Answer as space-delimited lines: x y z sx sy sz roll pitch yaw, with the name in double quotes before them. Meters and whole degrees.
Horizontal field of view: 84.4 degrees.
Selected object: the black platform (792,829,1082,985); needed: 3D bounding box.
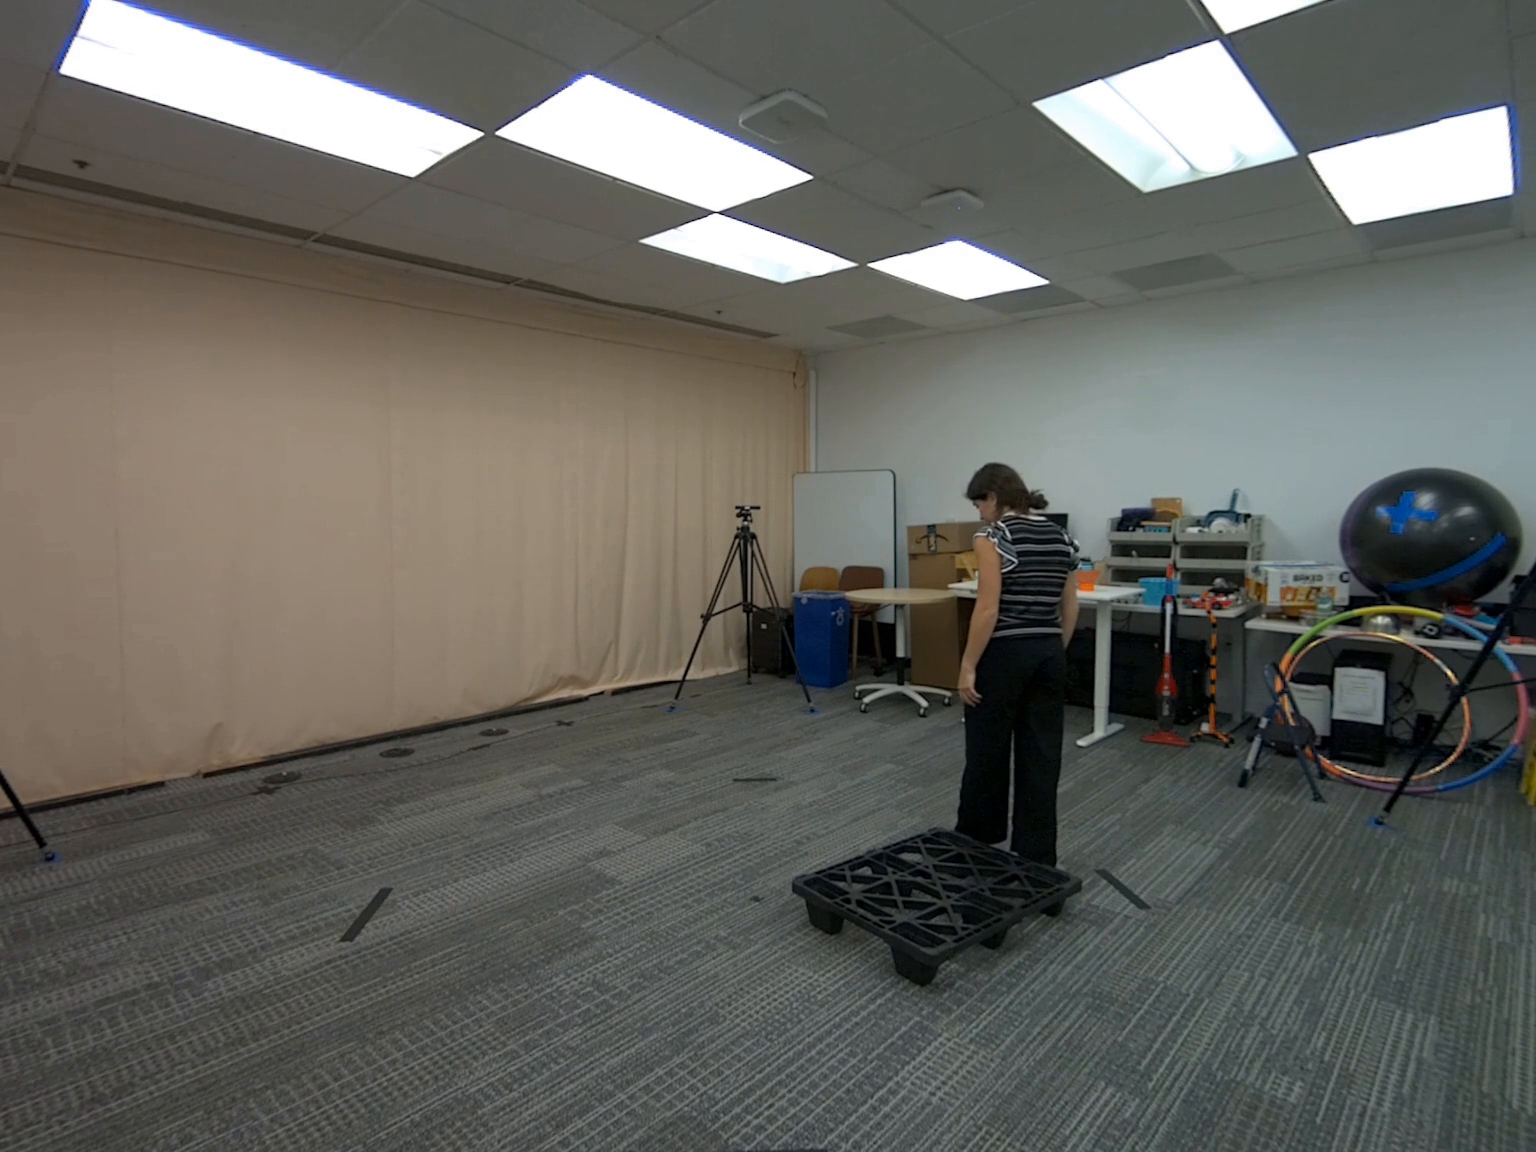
"black platform" 0.576 1.090 2.829 0.781 0.143 0.625 -4 7 -39
